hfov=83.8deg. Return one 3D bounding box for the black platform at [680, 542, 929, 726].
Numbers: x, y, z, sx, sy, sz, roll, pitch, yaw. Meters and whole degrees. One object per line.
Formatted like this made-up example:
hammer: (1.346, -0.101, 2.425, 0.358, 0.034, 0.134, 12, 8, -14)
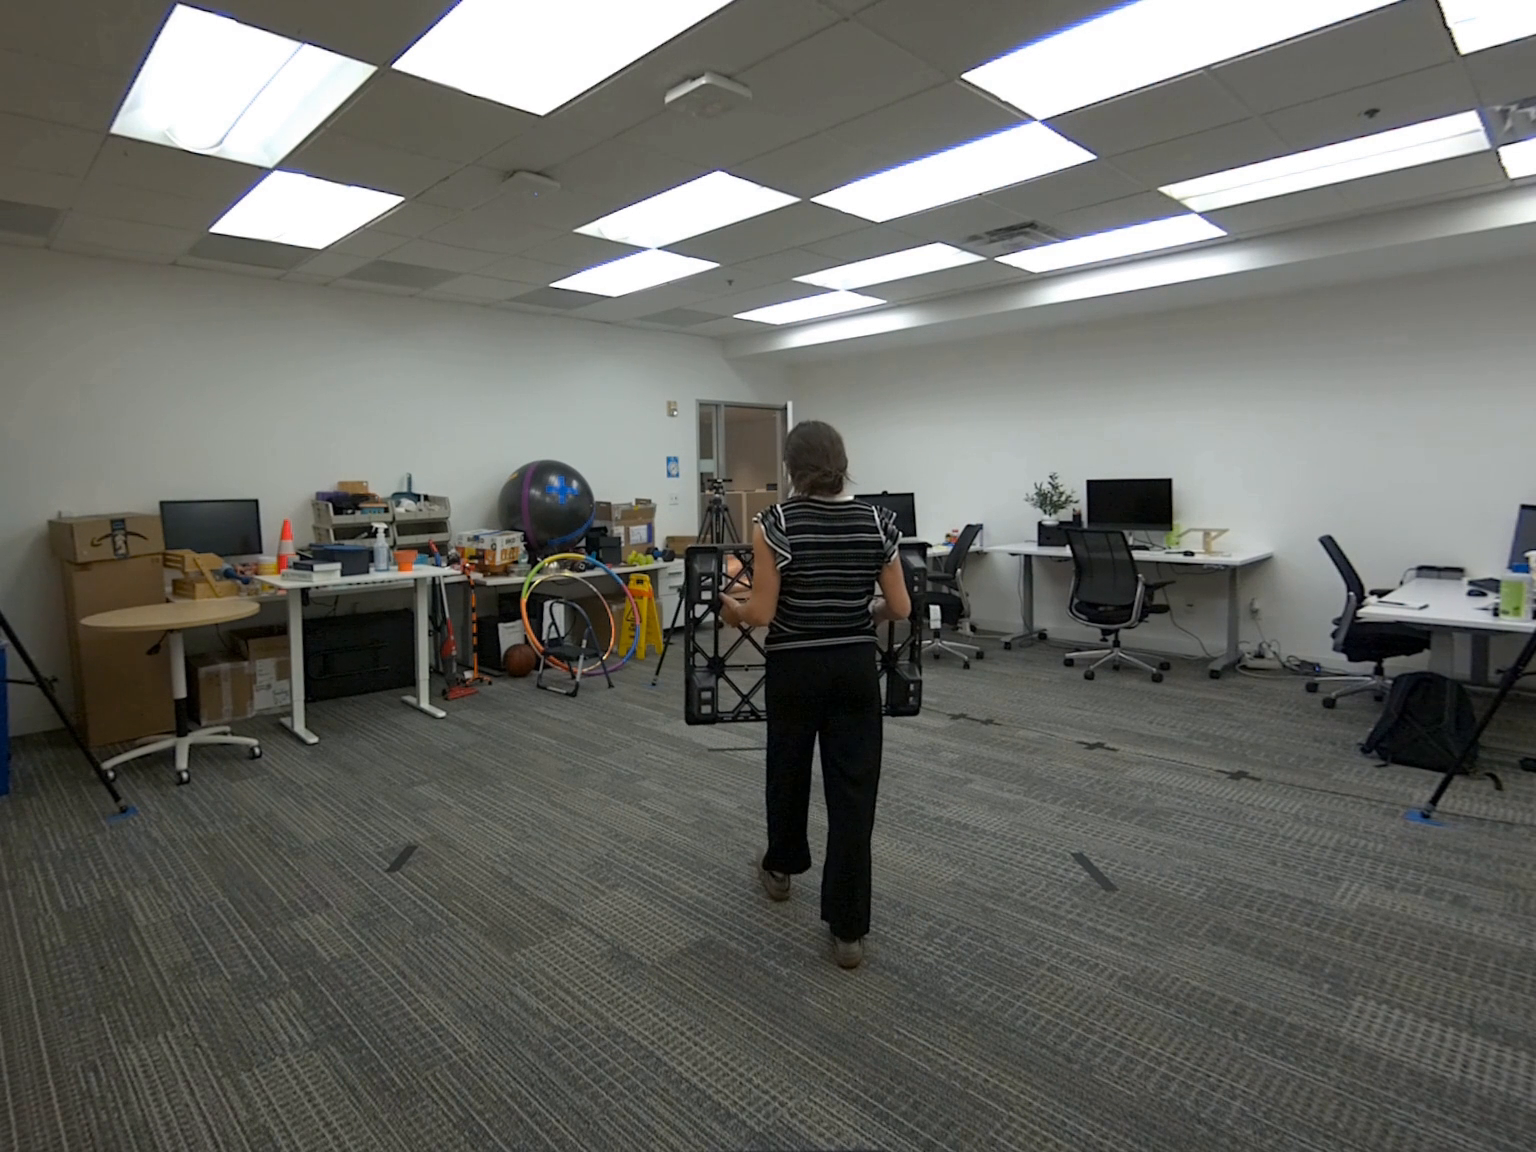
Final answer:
black platform: (0.126, 0.194, 2.775, 0.800, 0.600, 0.145, -1, 9, -7)
